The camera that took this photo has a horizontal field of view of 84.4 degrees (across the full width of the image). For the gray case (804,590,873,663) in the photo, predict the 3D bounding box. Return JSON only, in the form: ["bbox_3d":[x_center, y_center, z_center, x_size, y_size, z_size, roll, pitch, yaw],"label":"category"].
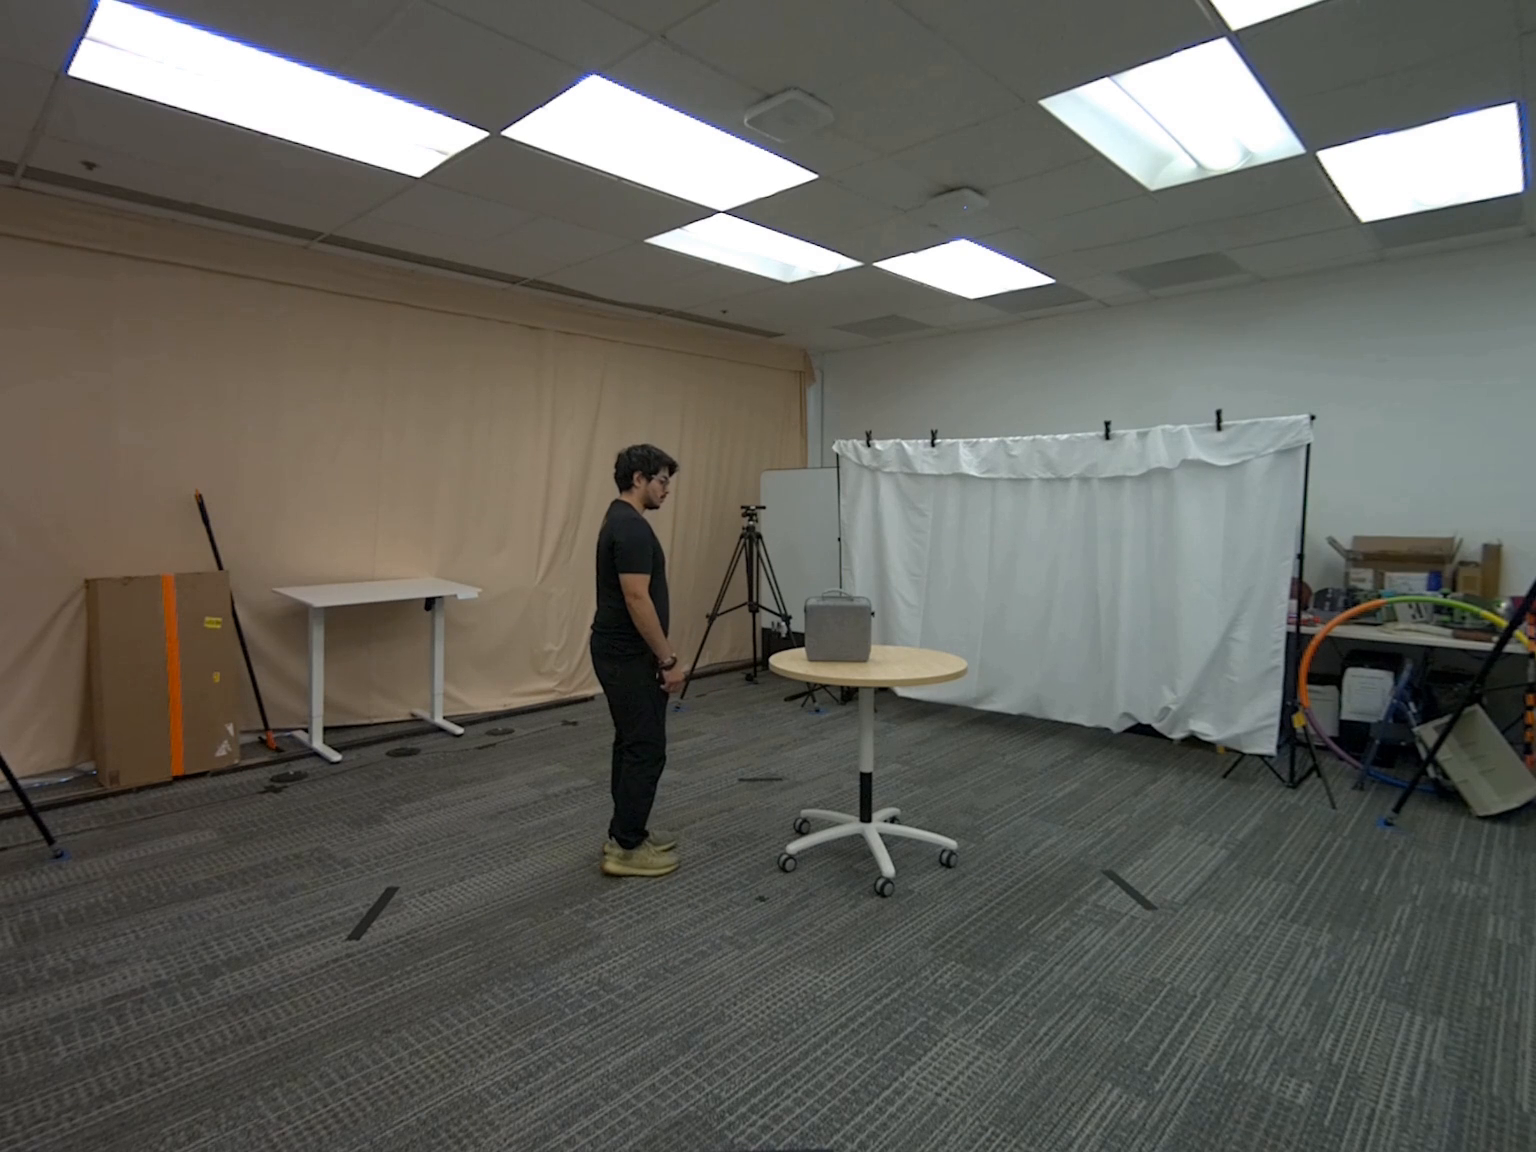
[{"bbox_3d":[0.280,0.205,3.284,0.258,0.258,0.104,-1,13,6],"label":"gray case"}]
